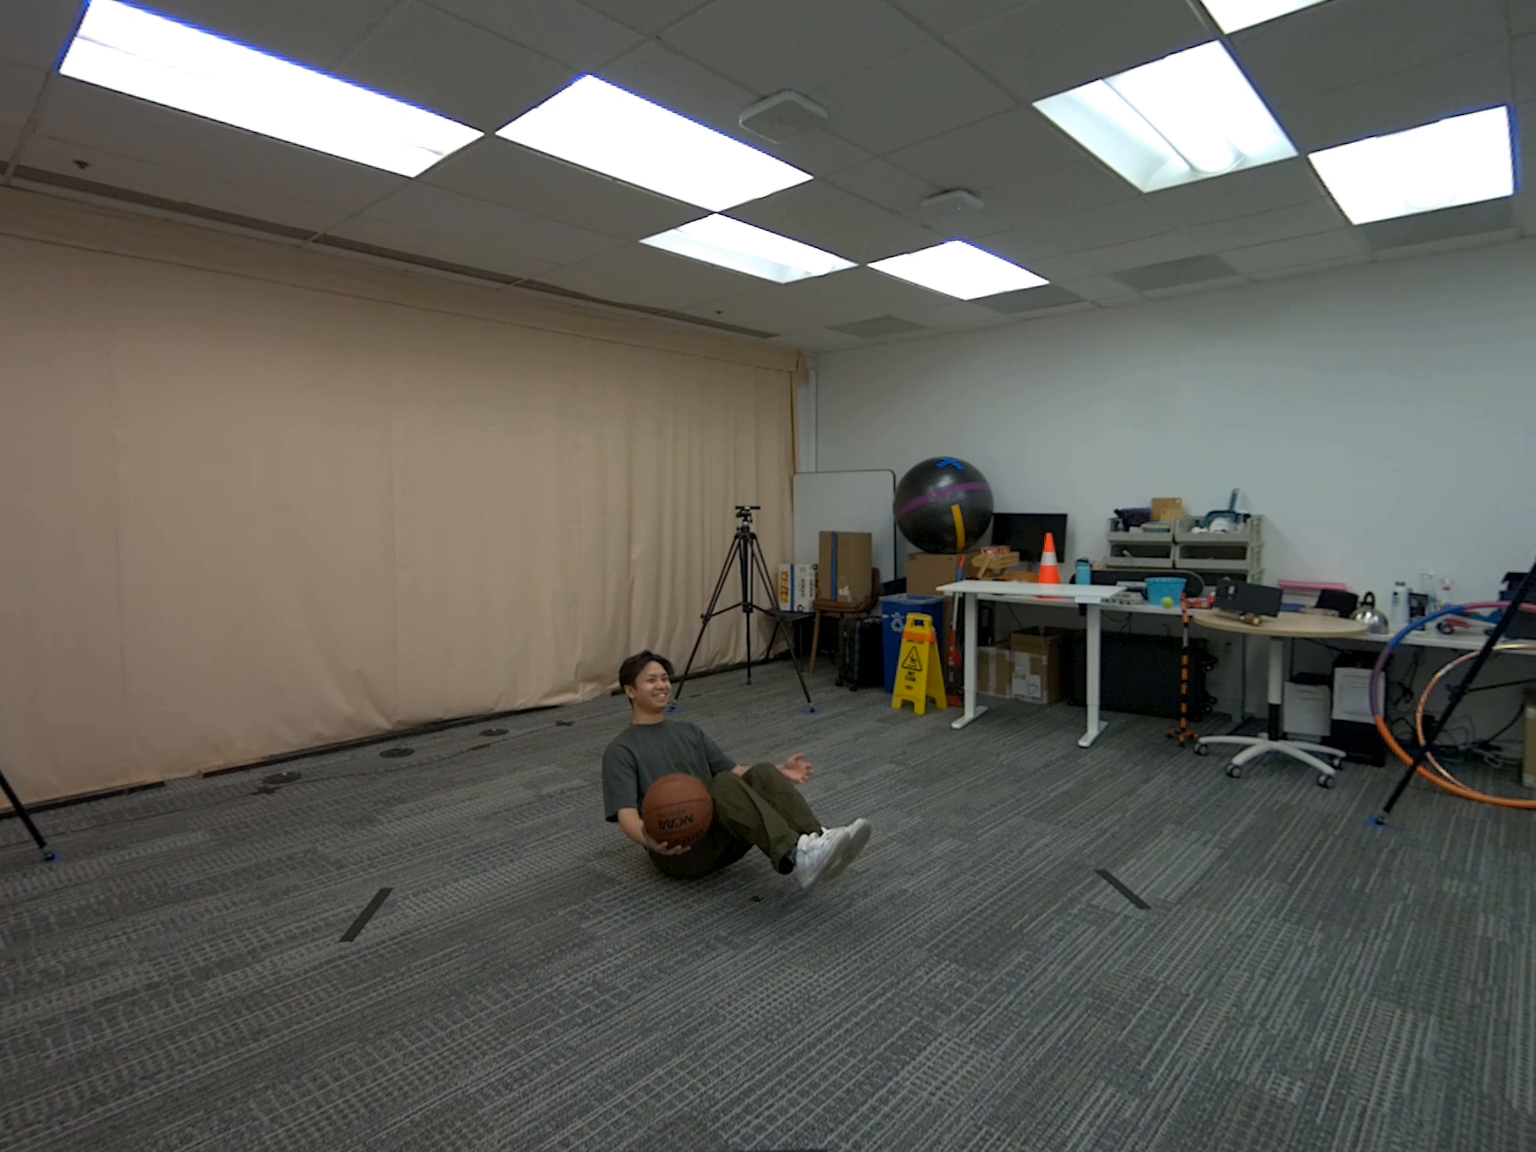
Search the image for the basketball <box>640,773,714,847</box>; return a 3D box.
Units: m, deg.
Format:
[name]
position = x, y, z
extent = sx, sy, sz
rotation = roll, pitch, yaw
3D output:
[basketball]
position = -0.286, 0.778, 2.822
extent = 0.236, 0.235, 0.237
rotation = 0, 4, -2
